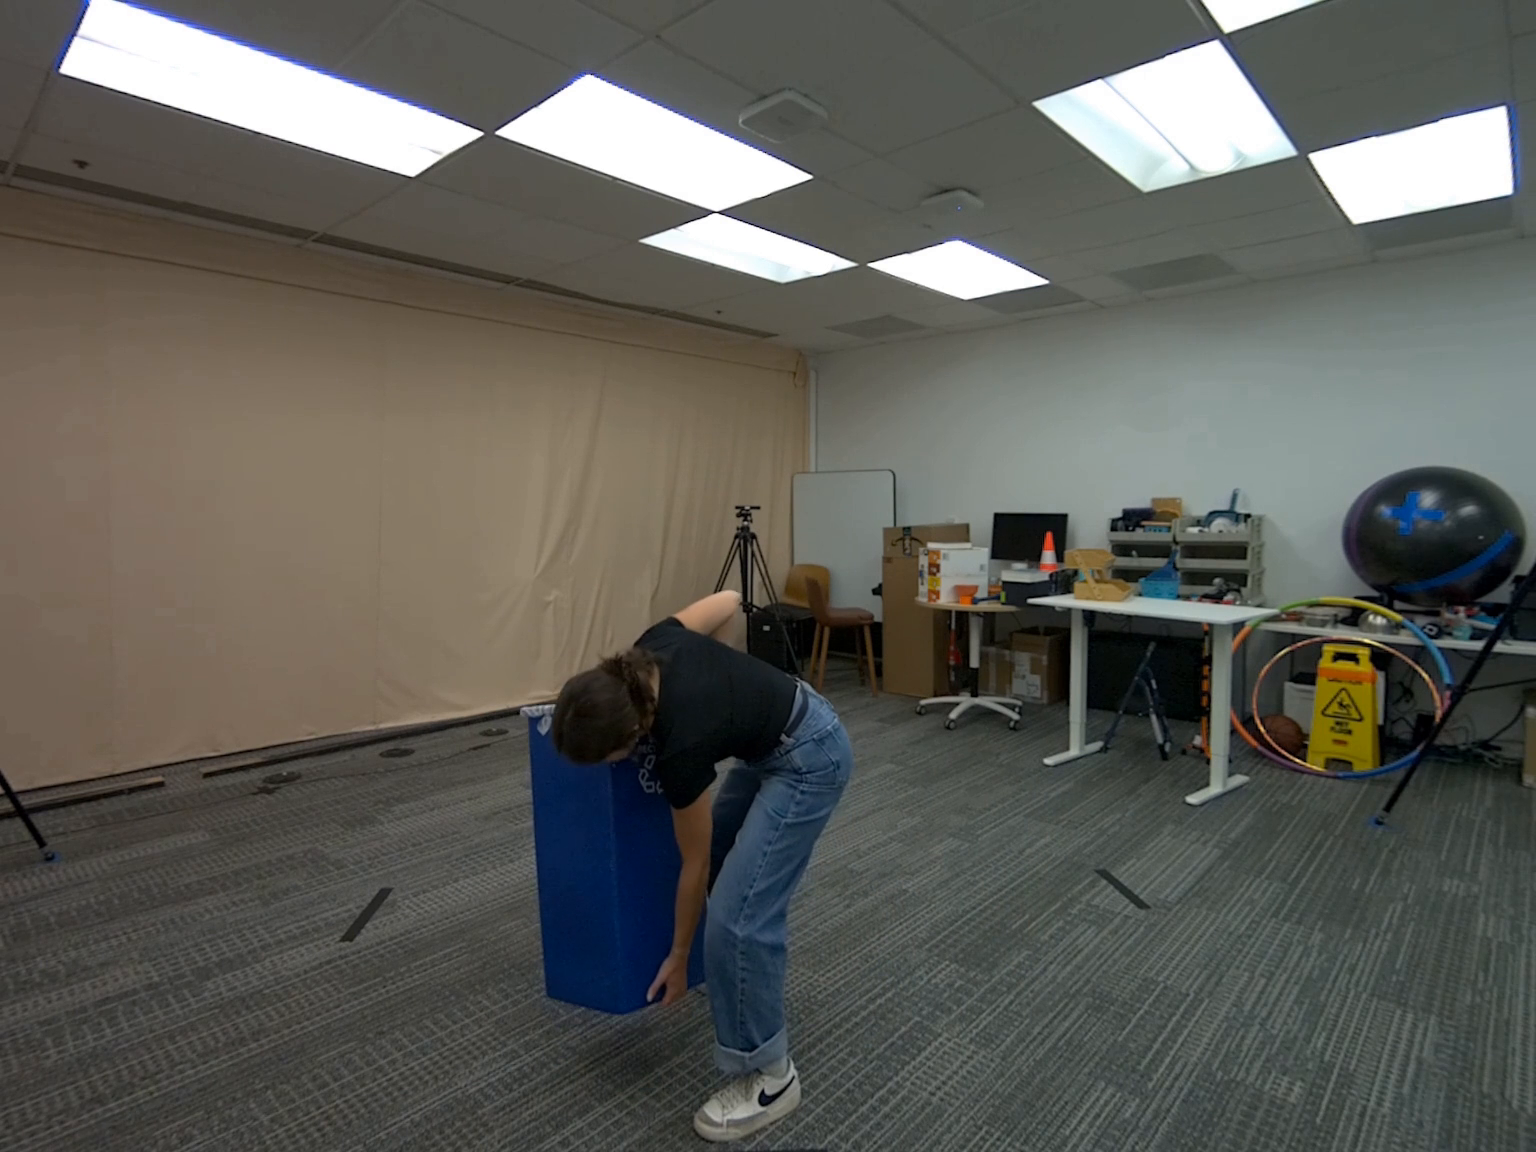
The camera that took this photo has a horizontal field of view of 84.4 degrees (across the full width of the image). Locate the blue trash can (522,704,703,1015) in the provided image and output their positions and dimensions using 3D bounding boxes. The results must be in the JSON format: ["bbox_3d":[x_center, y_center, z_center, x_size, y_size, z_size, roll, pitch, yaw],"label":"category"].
[{"bbox_3d":[-0.393,0.693,2.188,0.384,0.719,0.365,-14,-14,41],"label":"blue trash can"}]
